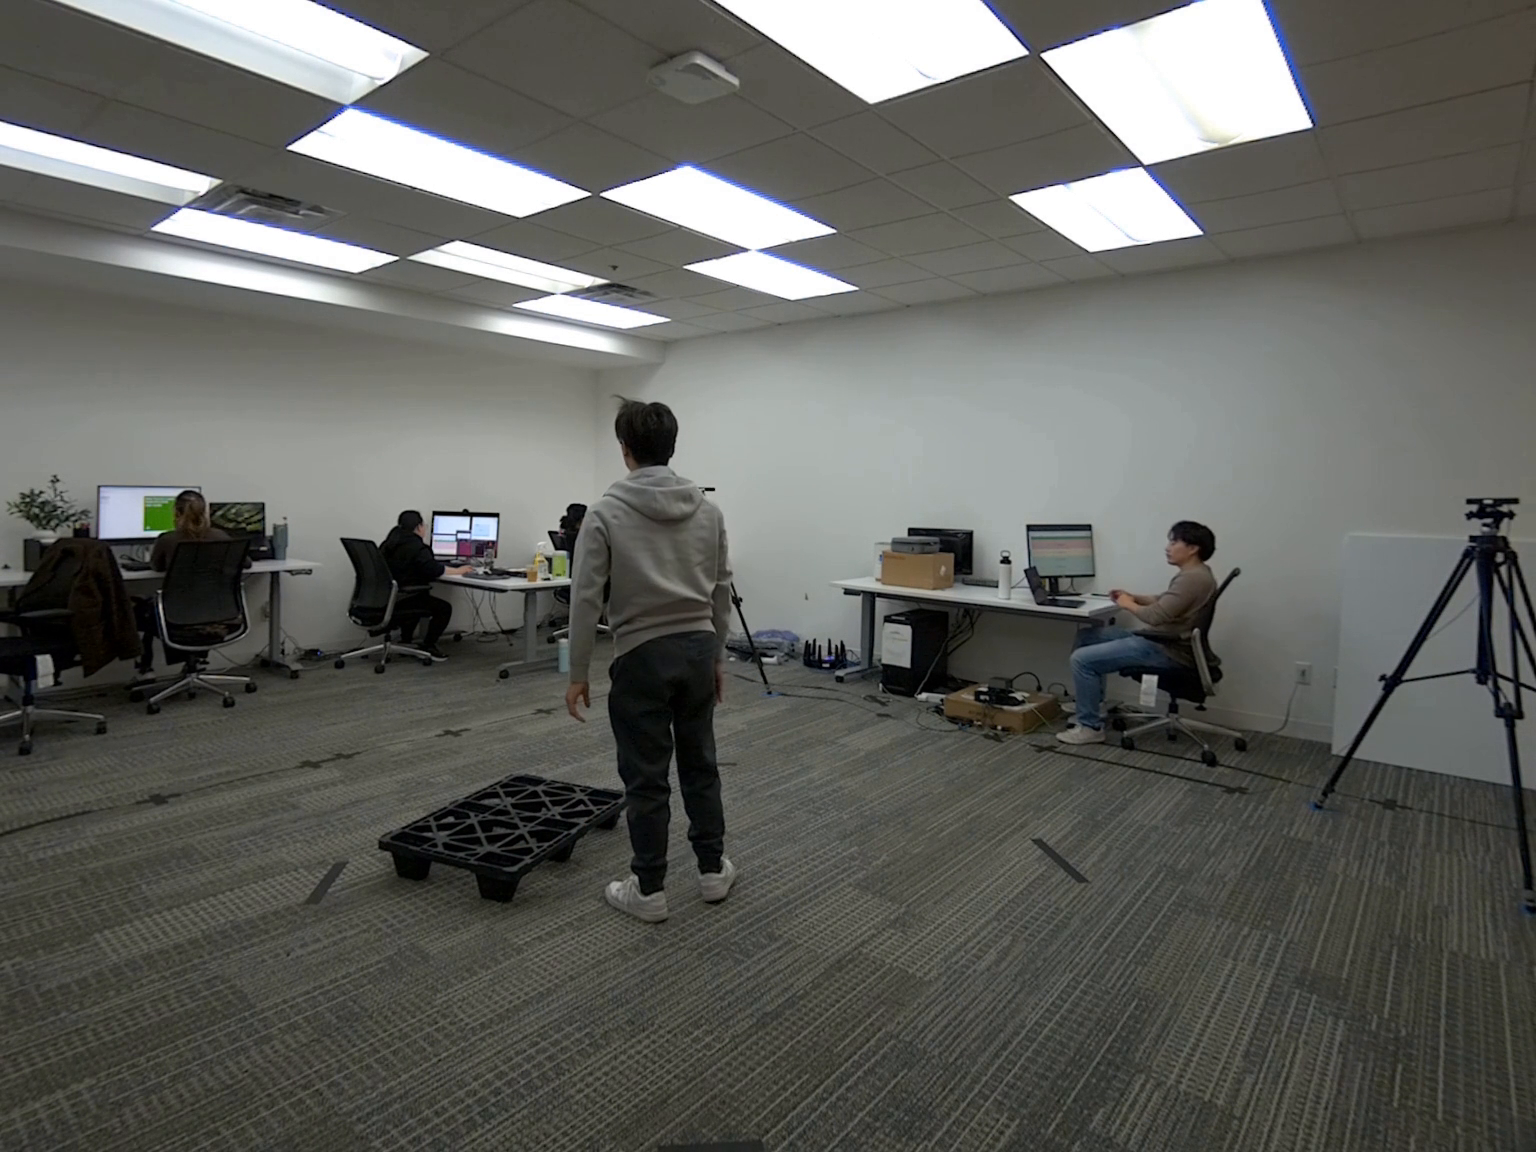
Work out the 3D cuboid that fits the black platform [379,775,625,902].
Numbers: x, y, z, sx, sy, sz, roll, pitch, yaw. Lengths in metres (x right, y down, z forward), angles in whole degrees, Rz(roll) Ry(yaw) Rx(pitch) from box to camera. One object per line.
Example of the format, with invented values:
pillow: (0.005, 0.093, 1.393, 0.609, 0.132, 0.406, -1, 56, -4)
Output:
black platform: (-0.980, 0.971, 3.241, 0.619, 0.143, 0.790, 2, 5, 22)
